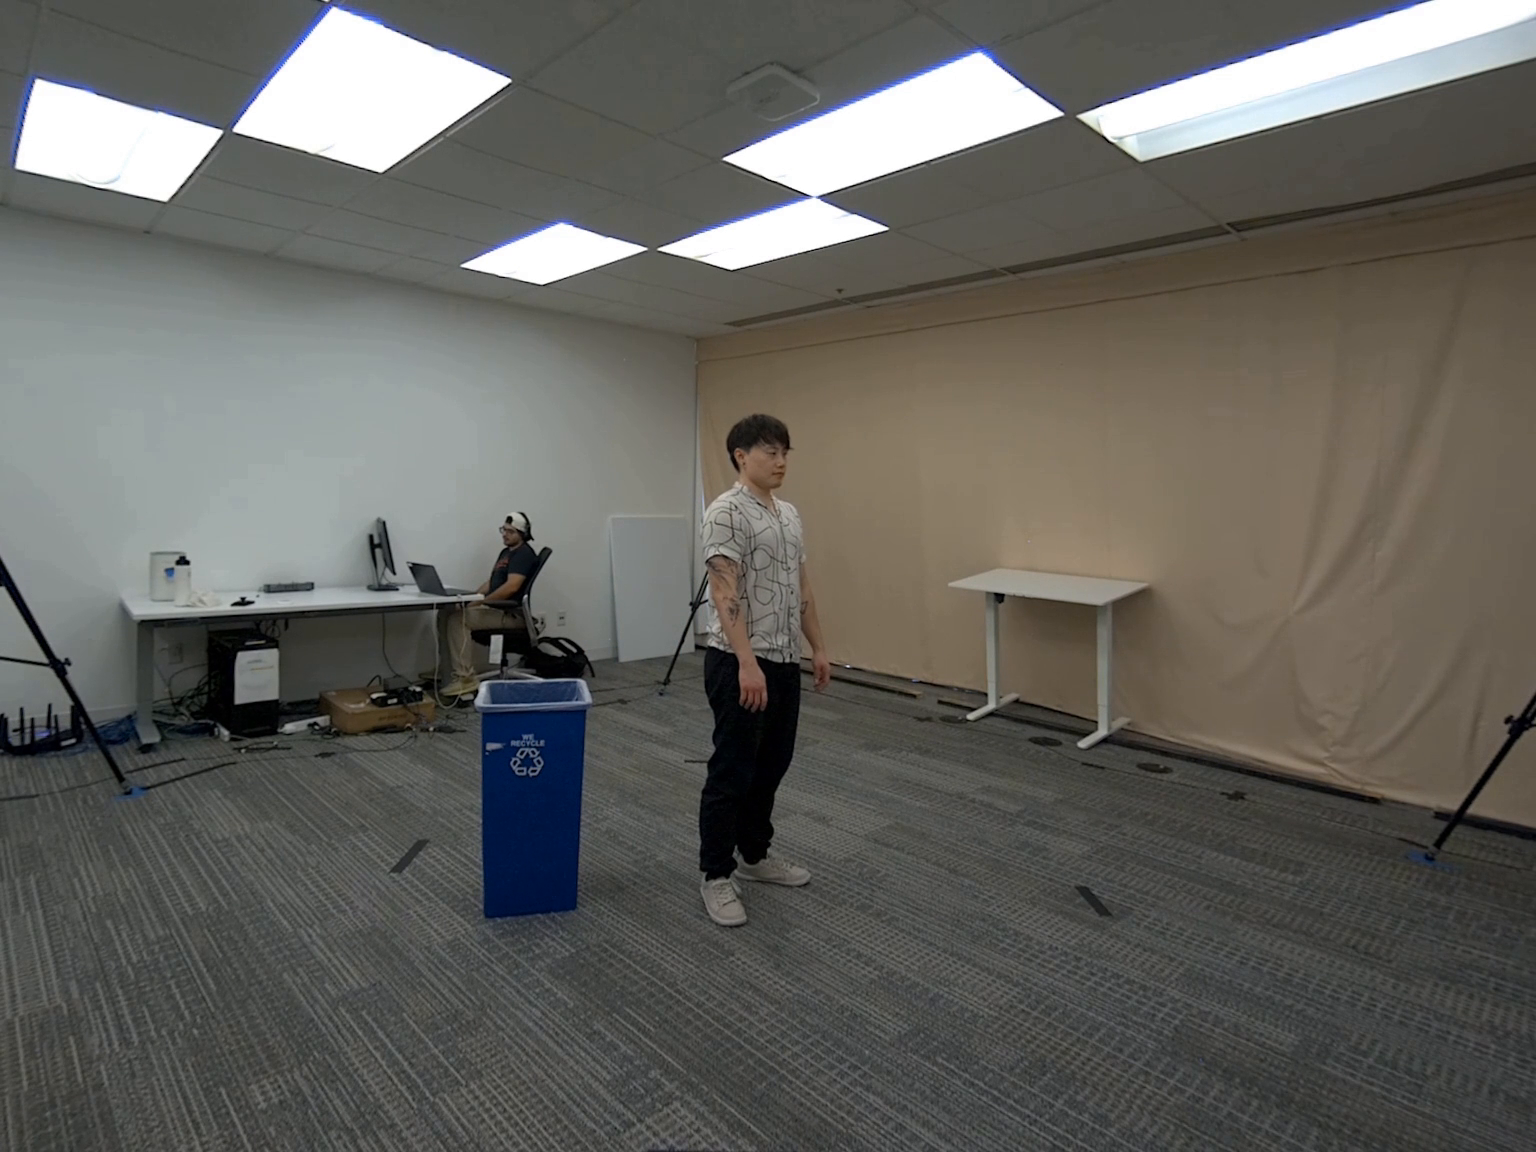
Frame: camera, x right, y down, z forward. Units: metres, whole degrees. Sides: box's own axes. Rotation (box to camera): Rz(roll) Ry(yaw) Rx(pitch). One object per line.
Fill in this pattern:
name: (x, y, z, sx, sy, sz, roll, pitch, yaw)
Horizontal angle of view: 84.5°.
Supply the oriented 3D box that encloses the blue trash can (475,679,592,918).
blue trash can: (-0.810, 0.748, 2.909, 0.369, 0.711, 0.384, 1, 4, -16)
